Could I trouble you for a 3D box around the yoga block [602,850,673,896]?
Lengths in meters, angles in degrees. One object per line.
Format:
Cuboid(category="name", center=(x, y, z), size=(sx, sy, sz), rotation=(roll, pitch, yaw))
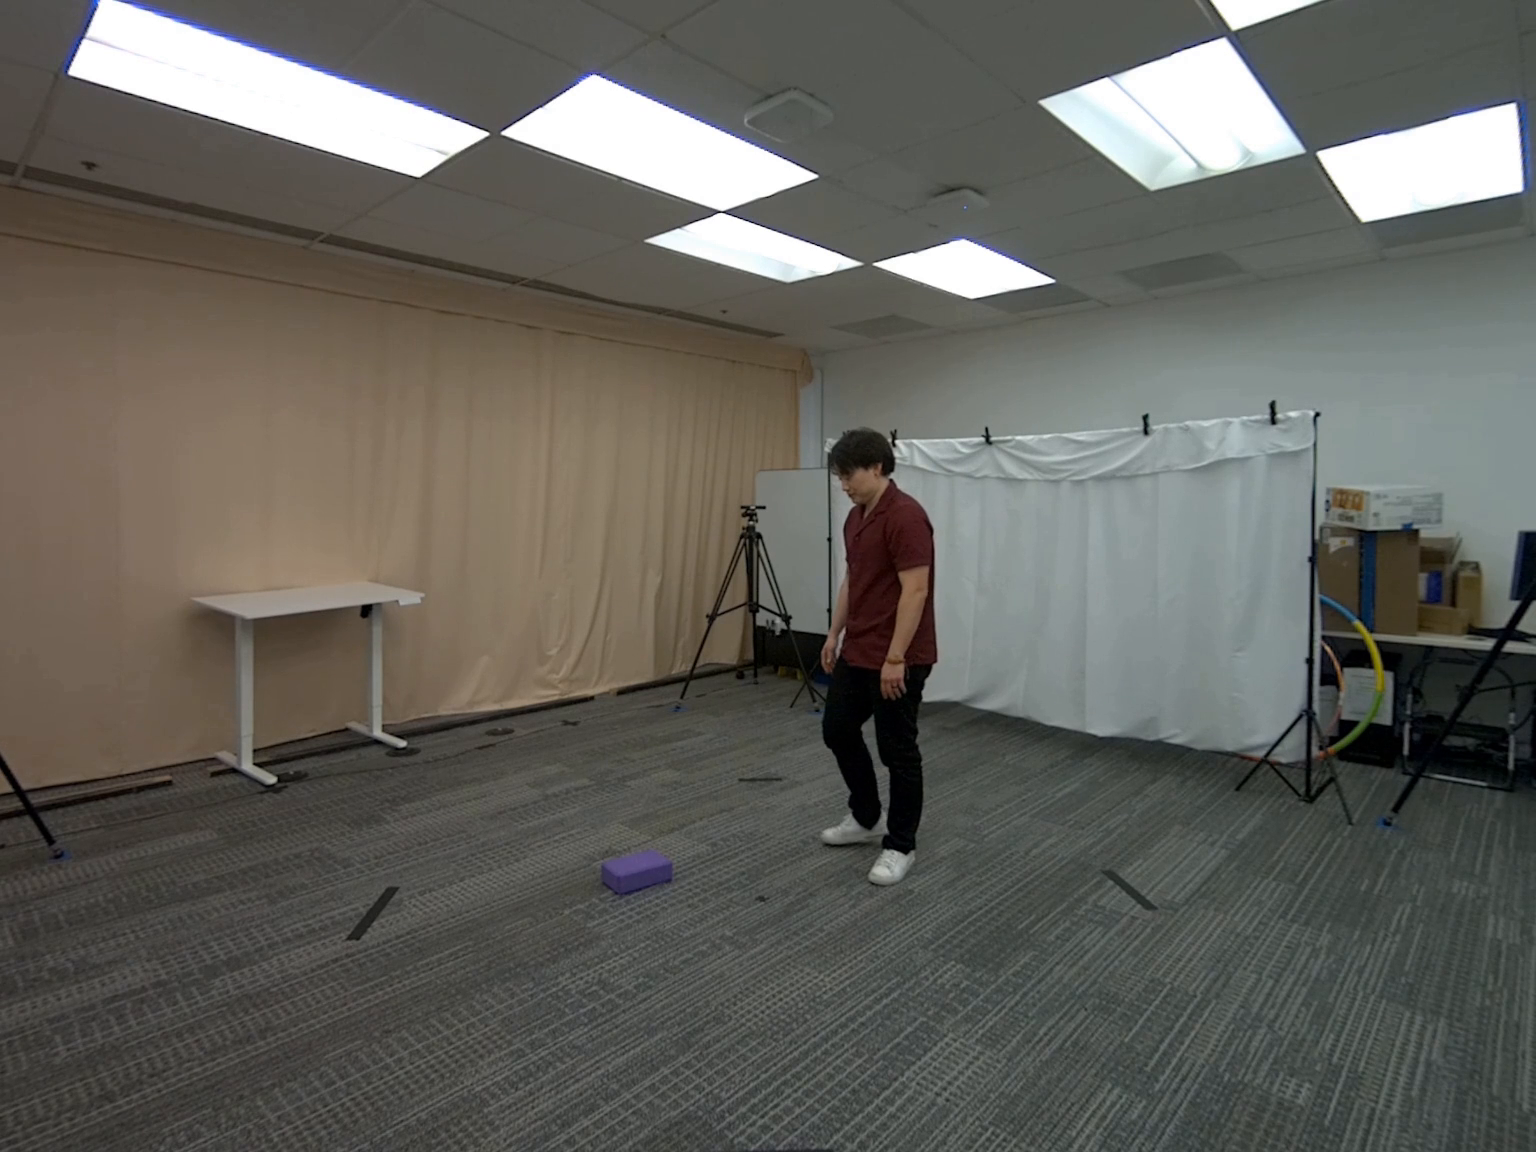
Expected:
Cuboid(category="yoga block", center=(-0.487, 1.097, 3.125), size=(0.223, 0.076, 0.154), rotation=(-4, 5, -35))
